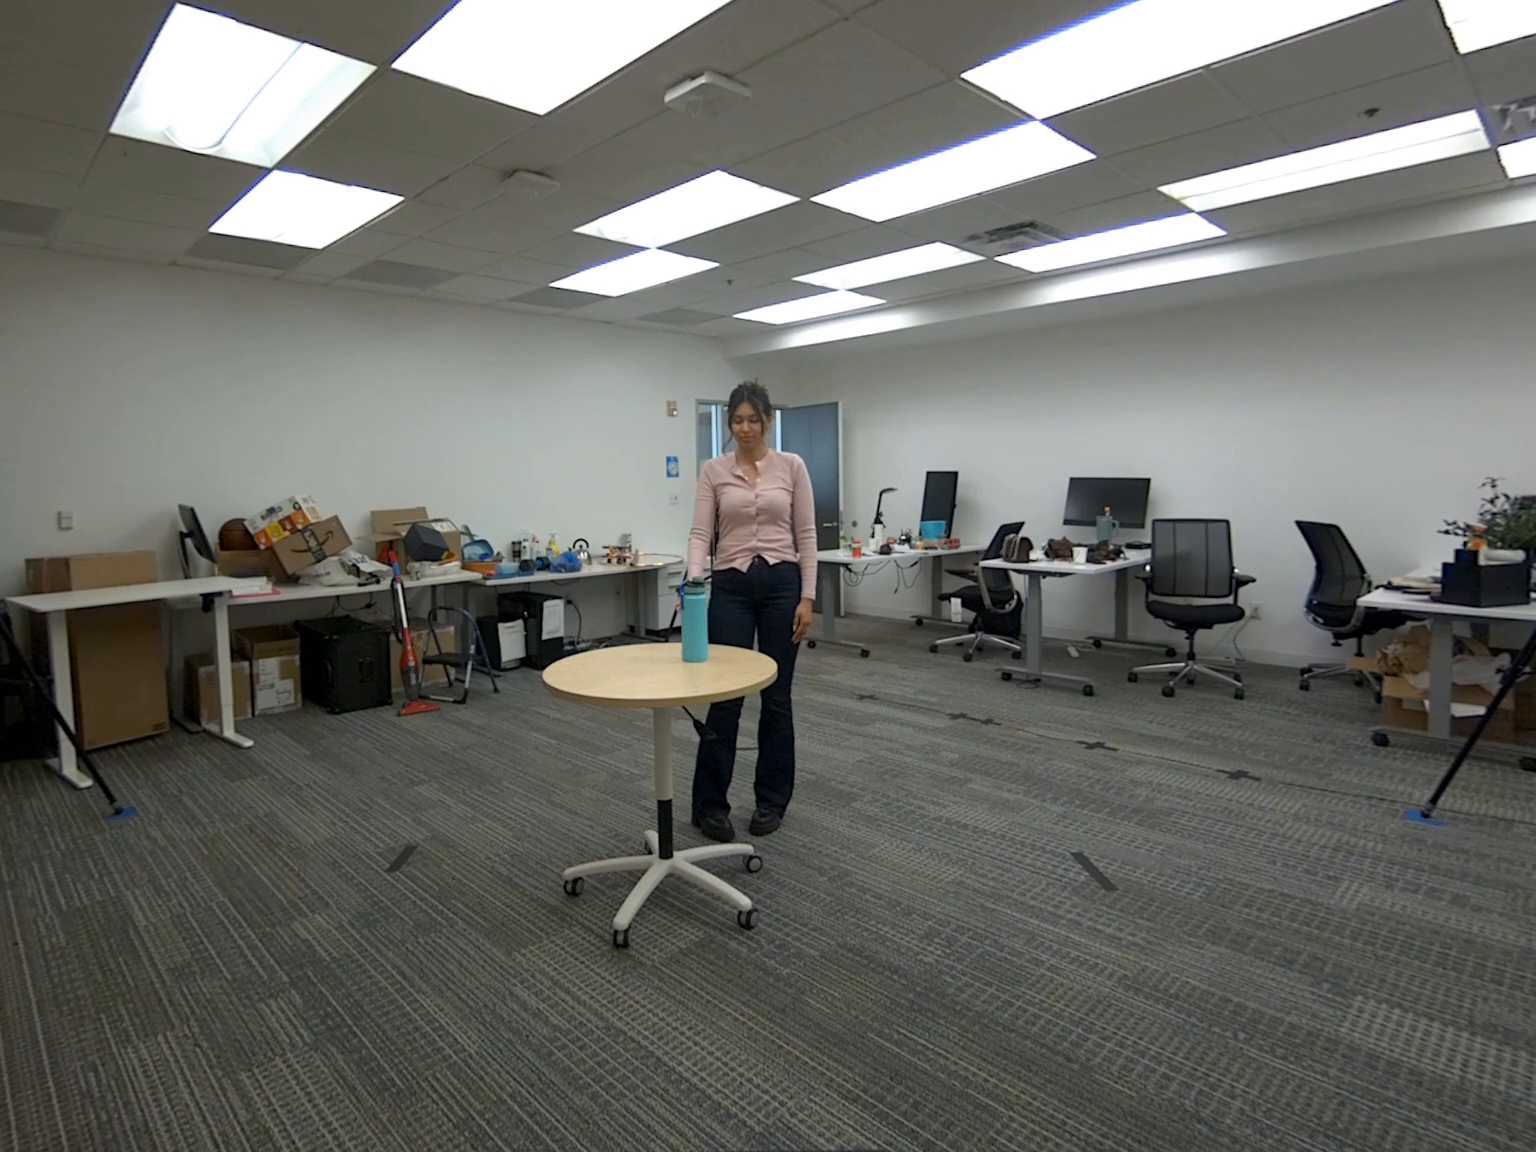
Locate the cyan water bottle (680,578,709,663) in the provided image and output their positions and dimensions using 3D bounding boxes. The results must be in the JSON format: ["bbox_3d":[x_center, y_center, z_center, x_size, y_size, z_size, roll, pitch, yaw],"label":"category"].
[{"bbox_3d":[-0.256,0.148,2.900,0.092,0.282,0.093,-2,4,-2],"label":"cyan water bottle"}]
